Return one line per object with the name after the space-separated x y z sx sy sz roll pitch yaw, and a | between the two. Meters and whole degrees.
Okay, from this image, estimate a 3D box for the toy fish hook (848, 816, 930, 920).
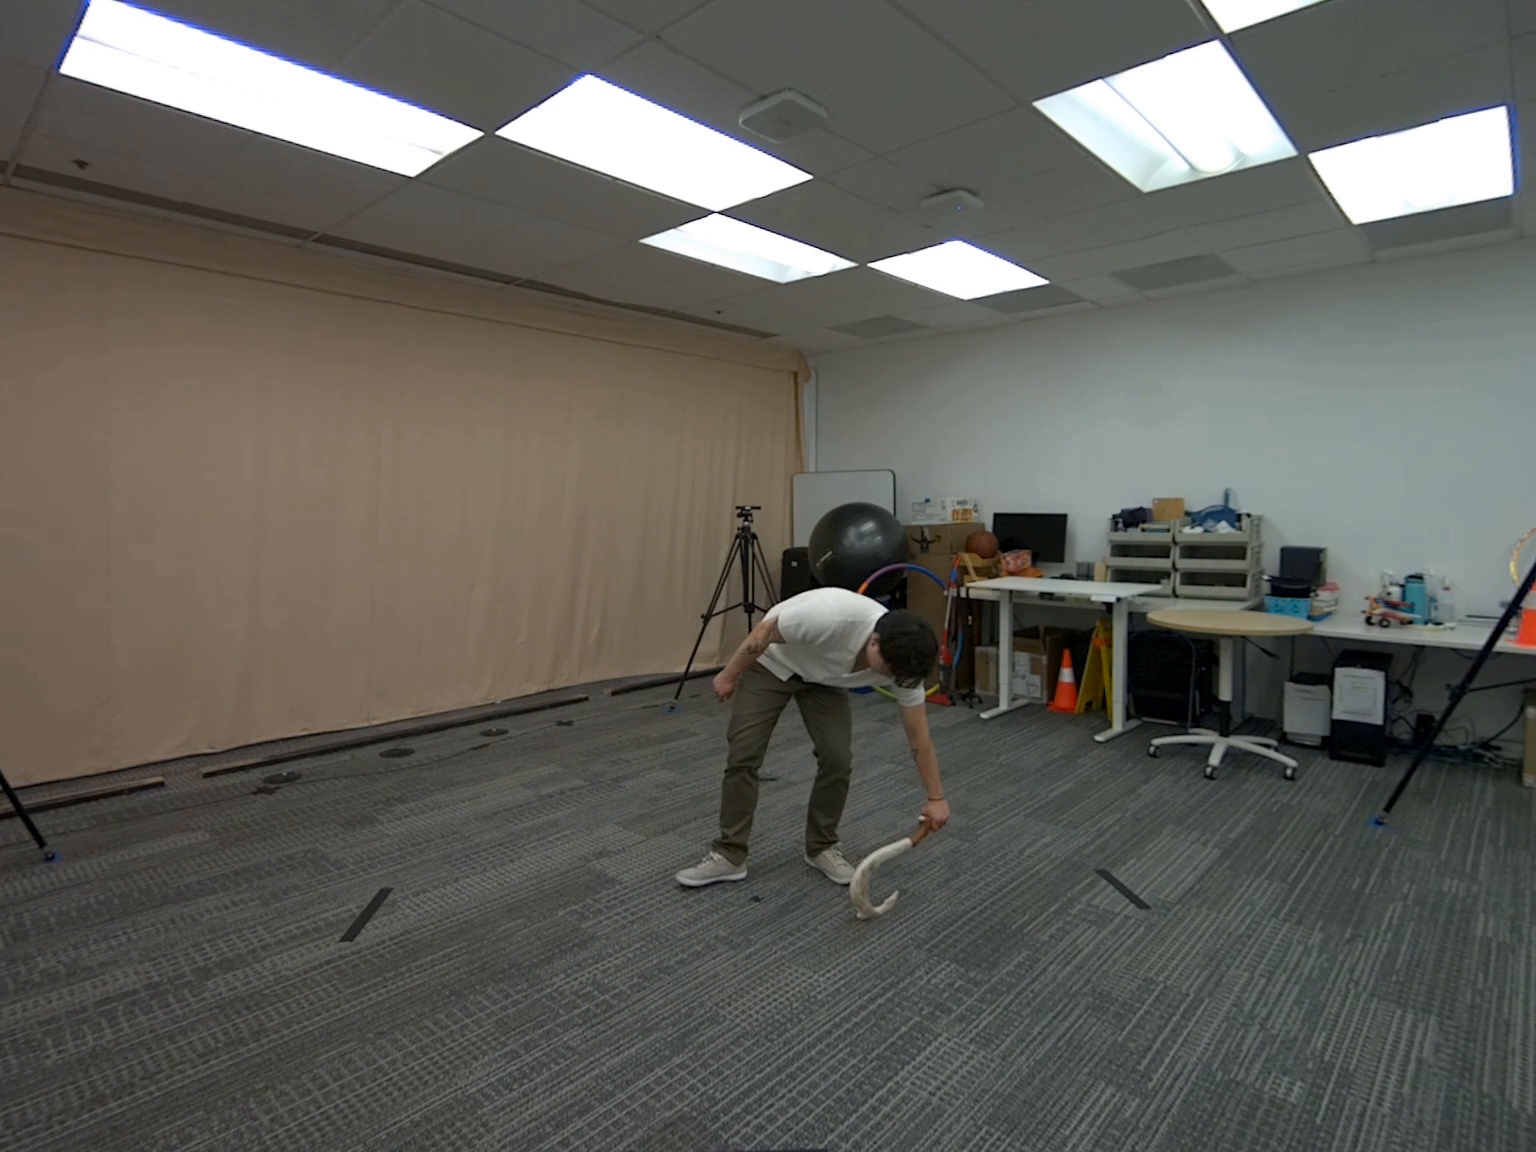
0.474 0.996 2.932 0.497 0.221 0.050 -27 19 -31 | toy fish hook
